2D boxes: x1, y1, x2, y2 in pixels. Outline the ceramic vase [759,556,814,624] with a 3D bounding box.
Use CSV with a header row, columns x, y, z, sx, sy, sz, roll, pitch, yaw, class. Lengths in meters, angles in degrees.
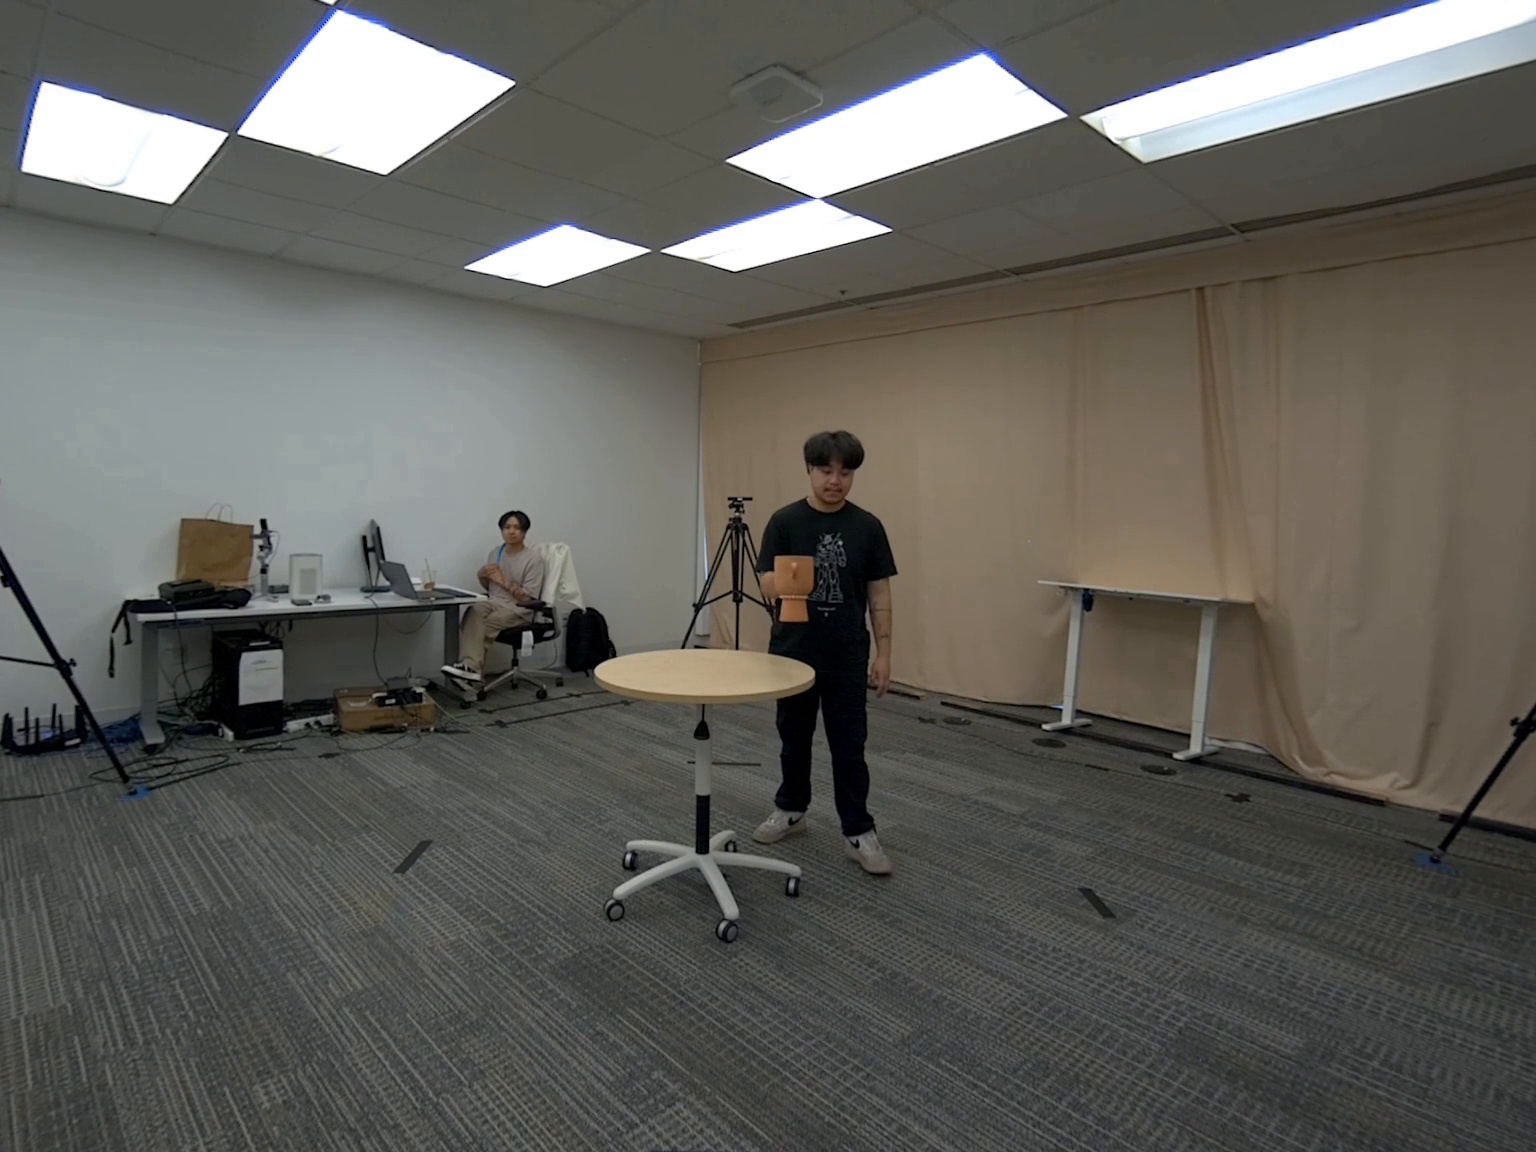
x,y,z,sx,sy,sz,roll,pitch,yaw,class
0.078,0.045,2.878,0.138,0.220,0.155,-1,-1,40,ceramic vase
